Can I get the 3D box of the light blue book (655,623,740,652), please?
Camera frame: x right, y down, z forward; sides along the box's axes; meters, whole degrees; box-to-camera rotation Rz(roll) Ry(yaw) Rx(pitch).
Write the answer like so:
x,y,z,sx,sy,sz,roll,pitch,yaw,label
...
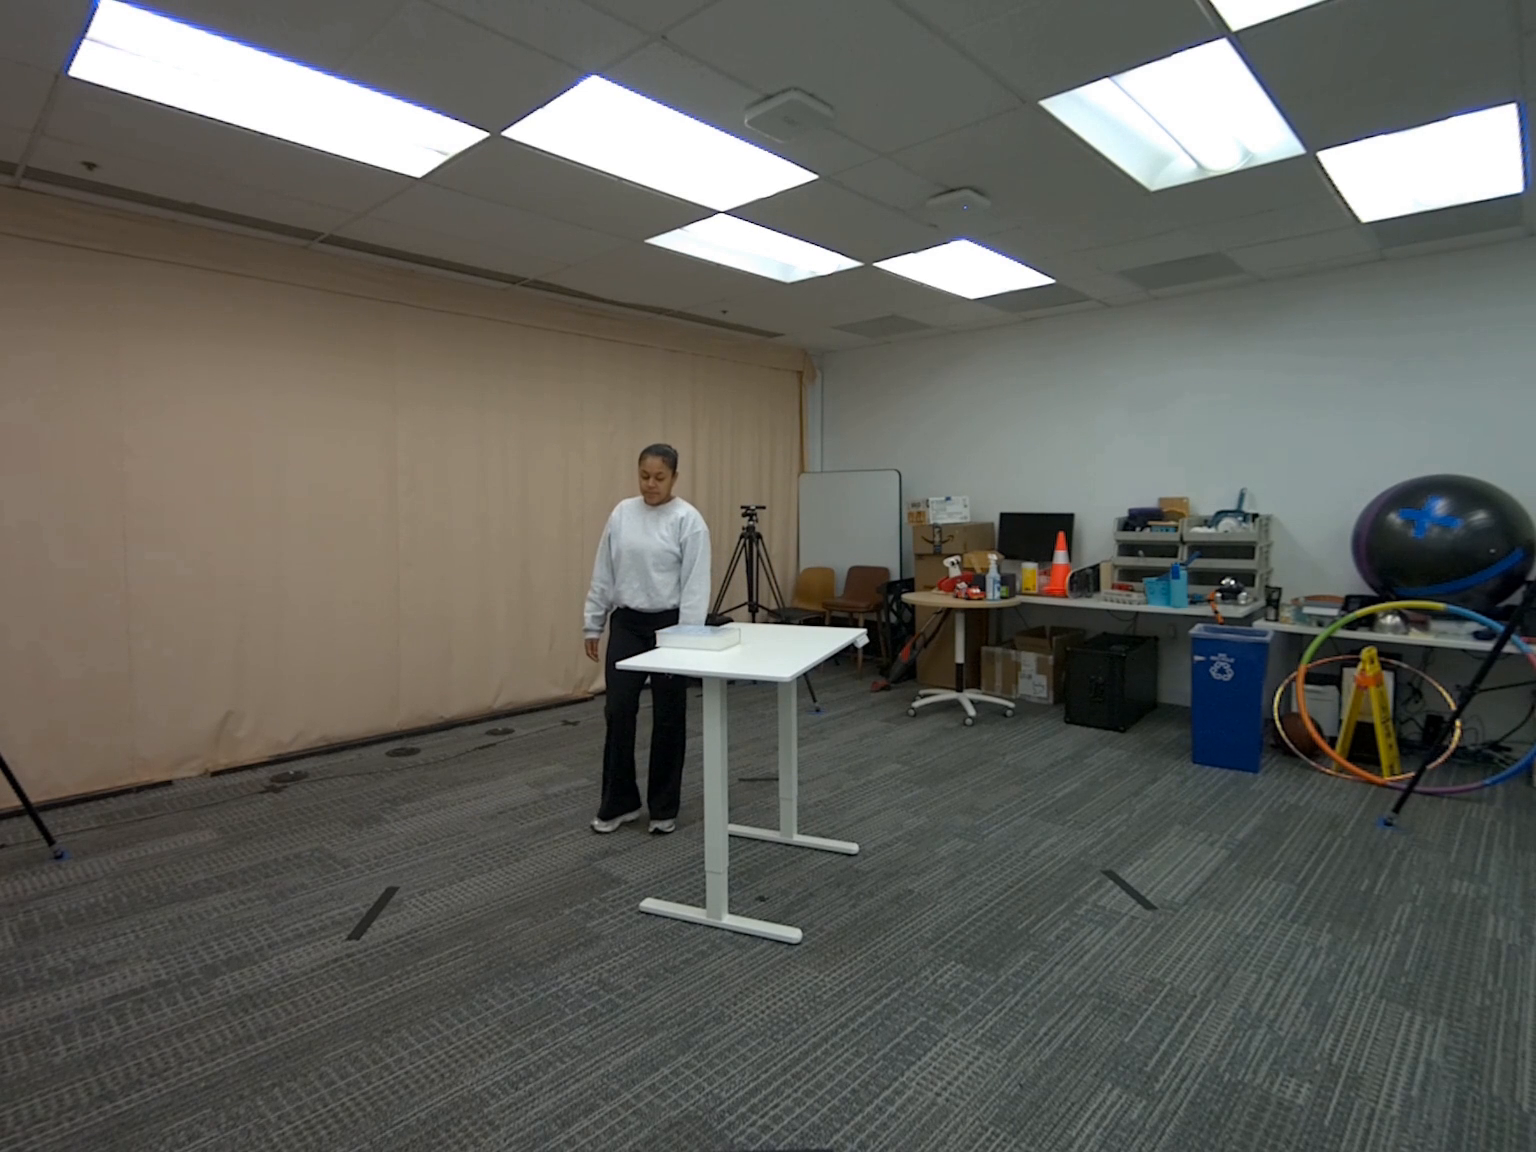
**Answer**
x,y,z,sx,sy,sz,roll,pitch,yaw,label
-0.254,0.227,3.101,0.268,0.059,0.187,2,5,25,light blue book
